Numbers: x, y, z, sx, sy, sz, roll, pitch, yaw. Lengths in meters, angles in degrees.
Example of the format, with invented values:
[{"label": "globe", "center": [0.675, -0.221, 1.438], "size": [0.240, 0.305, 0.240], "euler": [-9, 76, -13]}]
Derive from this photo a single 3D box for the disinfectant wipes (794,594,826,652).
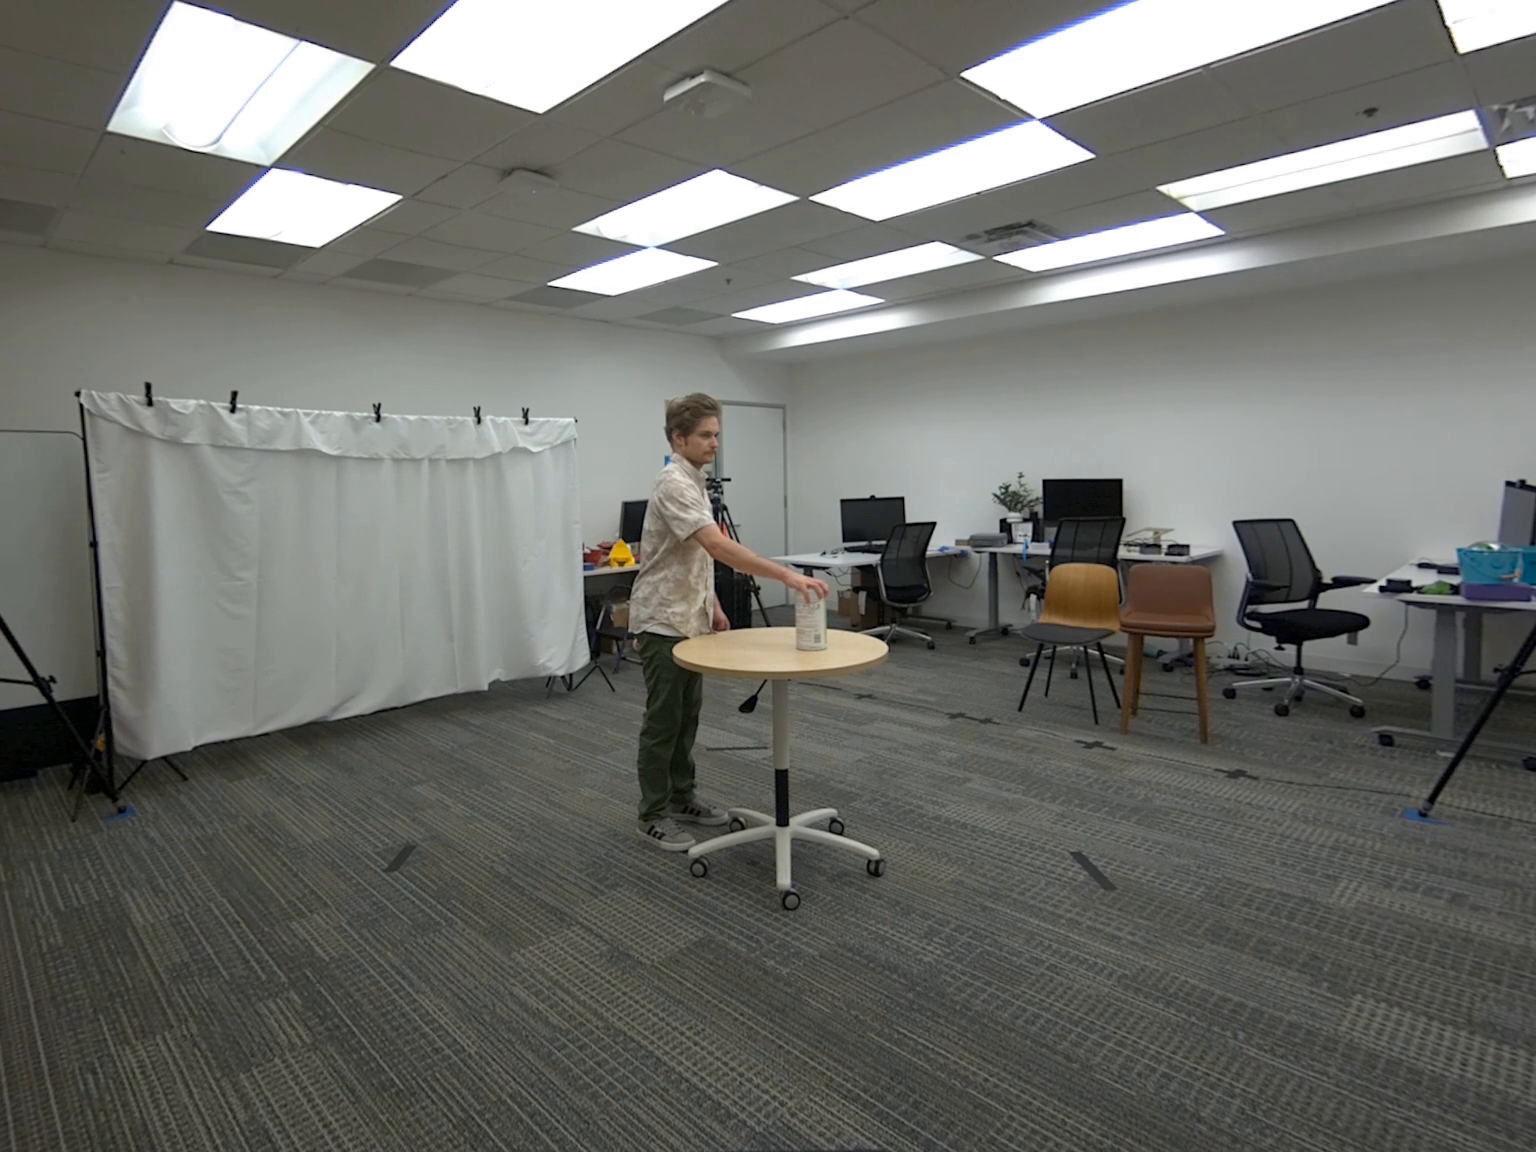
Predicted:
[{"label": "disinfectant wipes", "center": [0.150, 0.149, 3.010], "size": [0.118, 0.217, 0.118], "euler": [-3, 4, -1]}]
